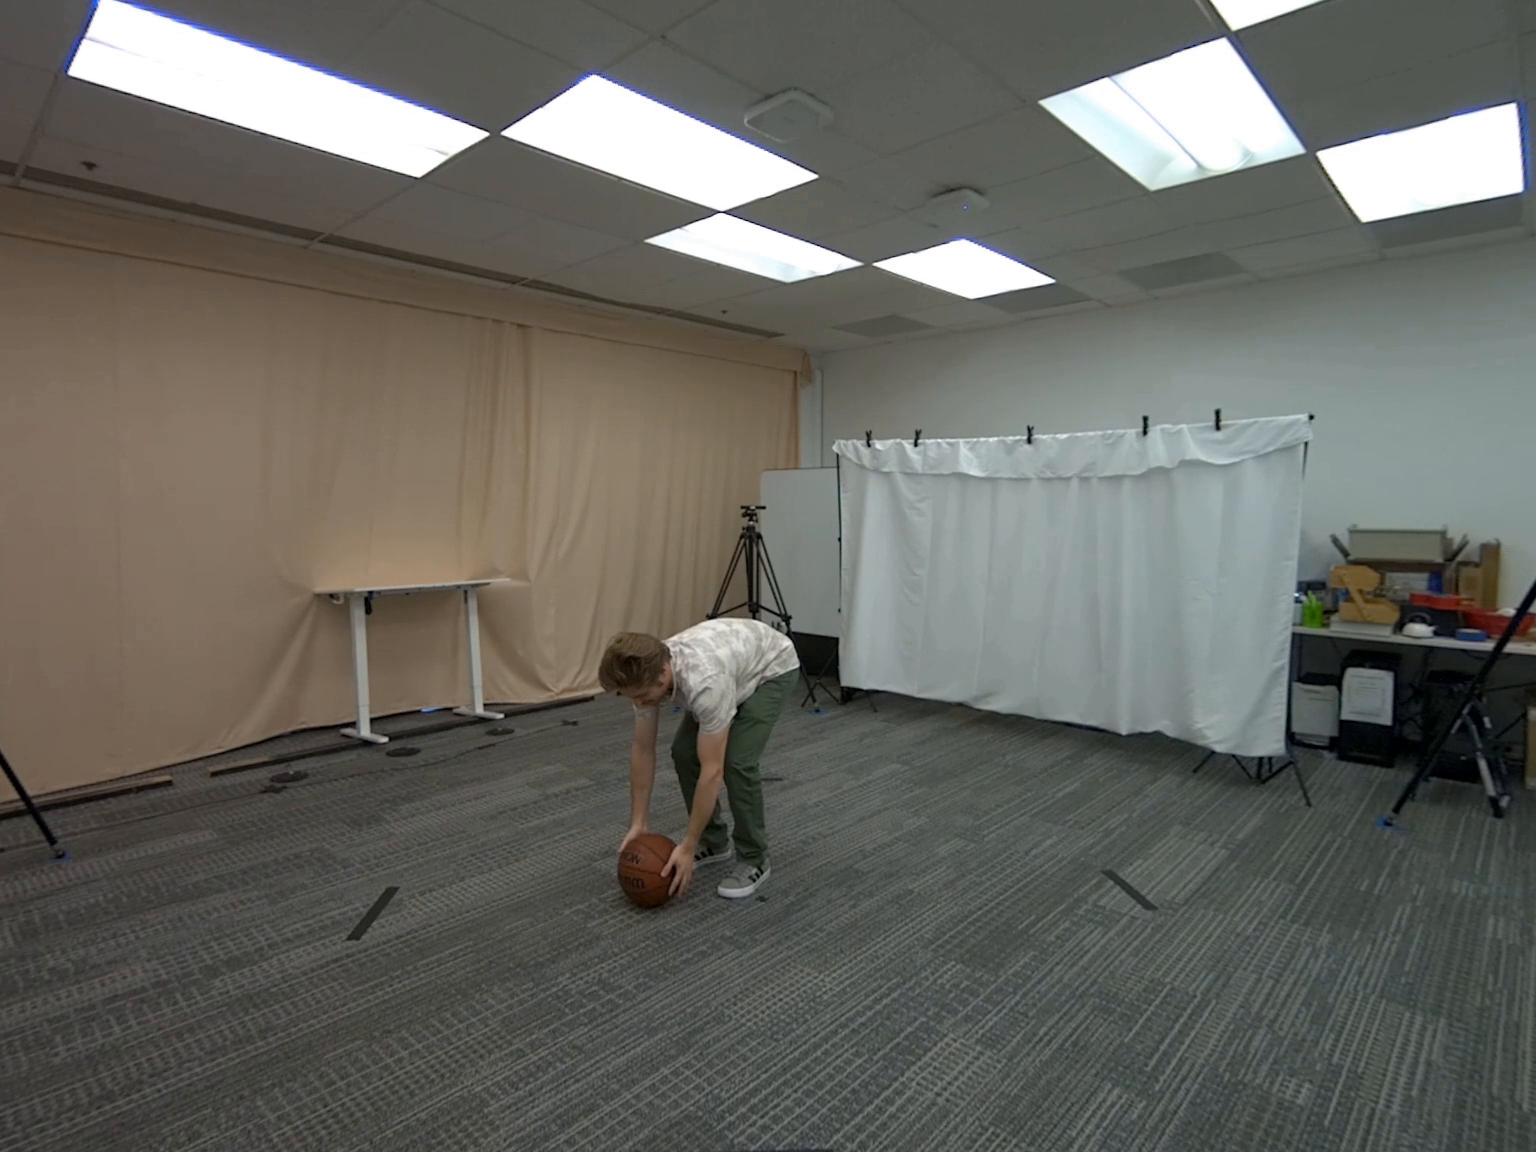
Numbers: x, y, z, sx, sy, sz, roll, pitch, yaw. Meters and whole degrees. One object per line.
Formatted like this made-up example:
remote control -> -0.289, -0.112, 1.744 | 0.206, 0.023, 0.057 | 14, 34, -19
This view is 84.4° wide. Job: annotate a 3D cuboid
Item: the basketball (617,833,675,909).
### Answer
basketball -> -0.408, 1.021, 2.956 | 0.236, 0.235, 0.237 | 0, 4, -2
